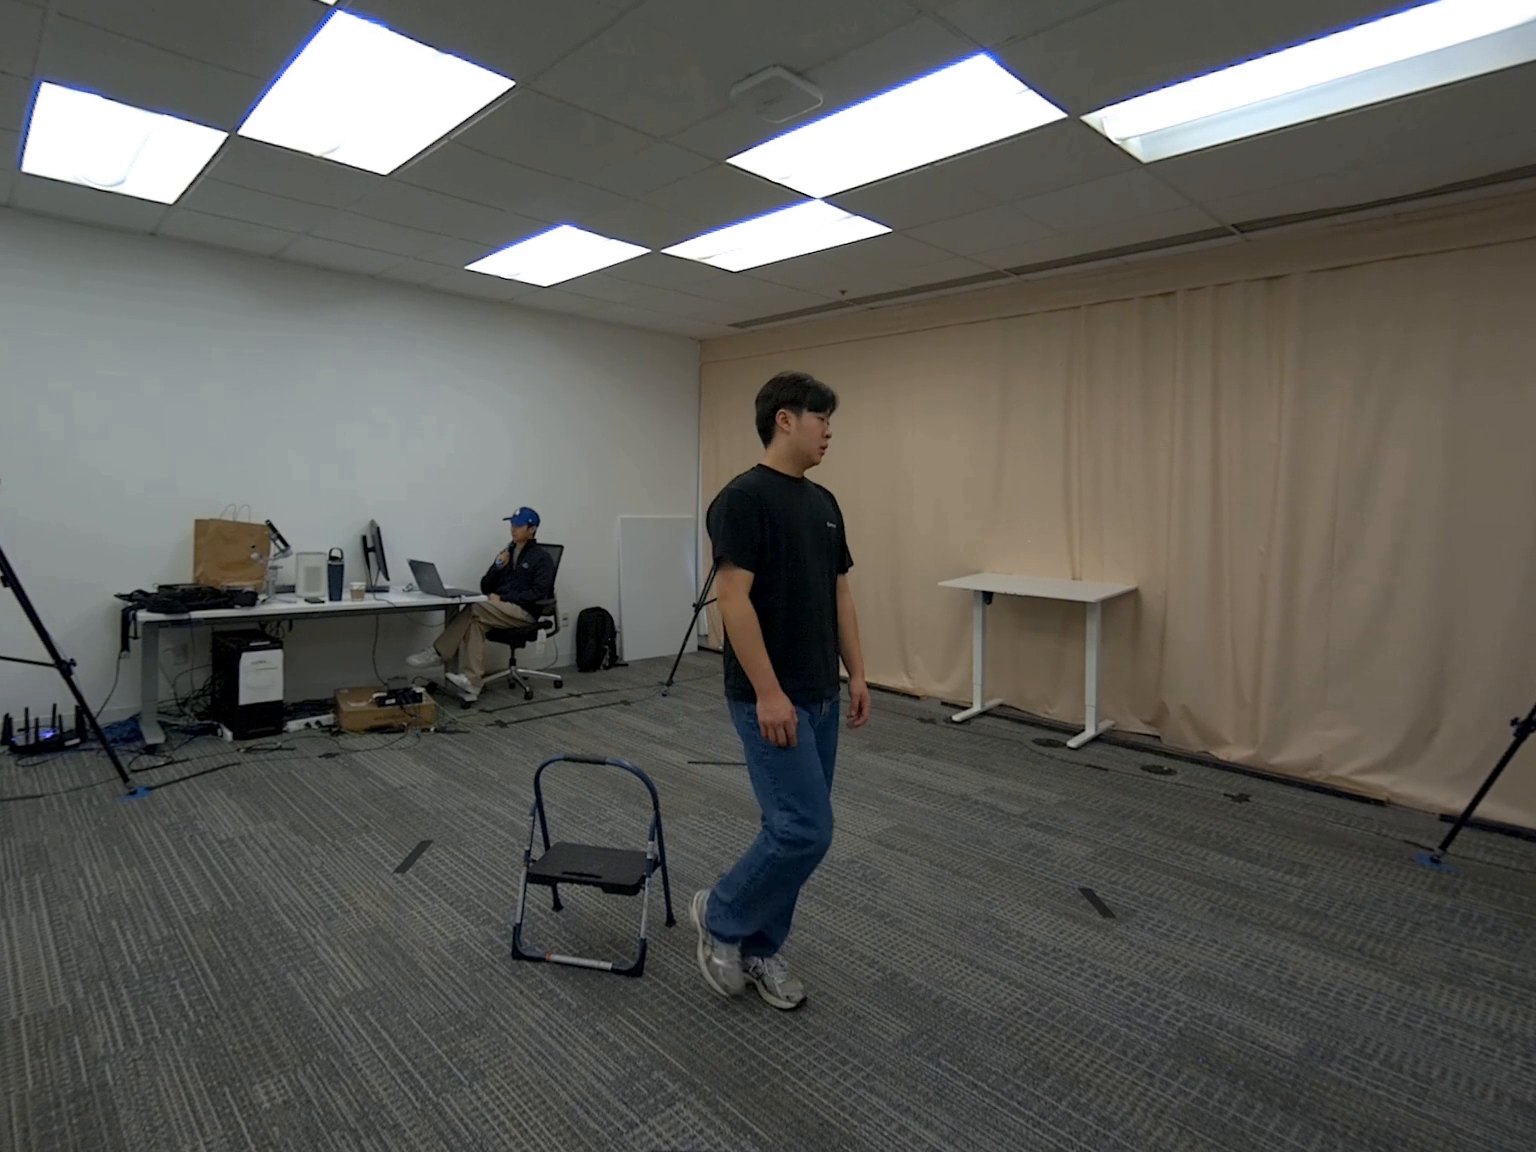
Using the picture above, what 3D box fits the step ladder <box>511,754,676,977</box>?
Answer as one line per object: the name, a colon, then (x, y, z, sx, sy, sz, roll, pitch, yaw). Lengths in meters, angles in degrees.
step ladder: (-0.538, 0.841, 2.623, 0.434, 0.605, 0.347, 1, 3, 10)
